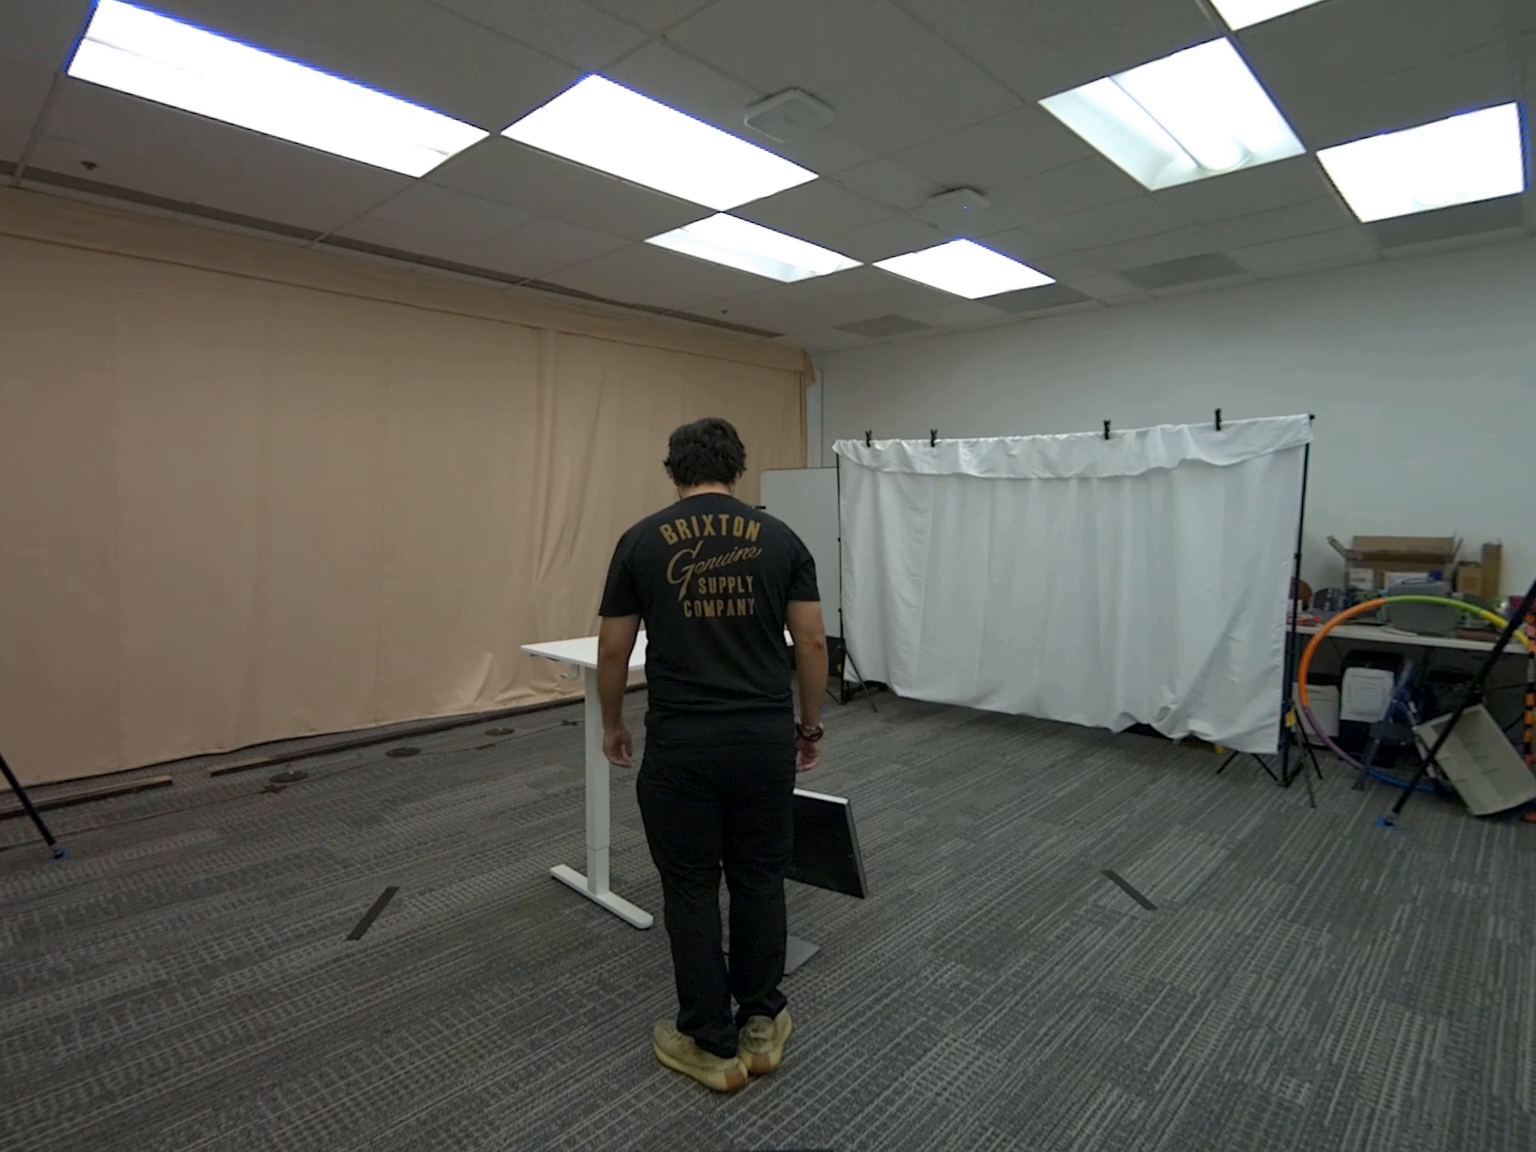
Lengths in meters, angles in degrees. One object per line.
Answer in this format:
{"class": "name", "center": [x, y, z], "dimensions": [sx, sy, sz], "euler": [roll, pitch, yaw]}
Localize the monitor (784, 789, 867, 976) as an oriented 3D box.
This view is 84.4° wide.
{"class": "monitor", "center": [0.000, 0.911, 2.592], "dimensions": [0.583, 0.549, 0.205], "euler": [2, 14, 33]}
